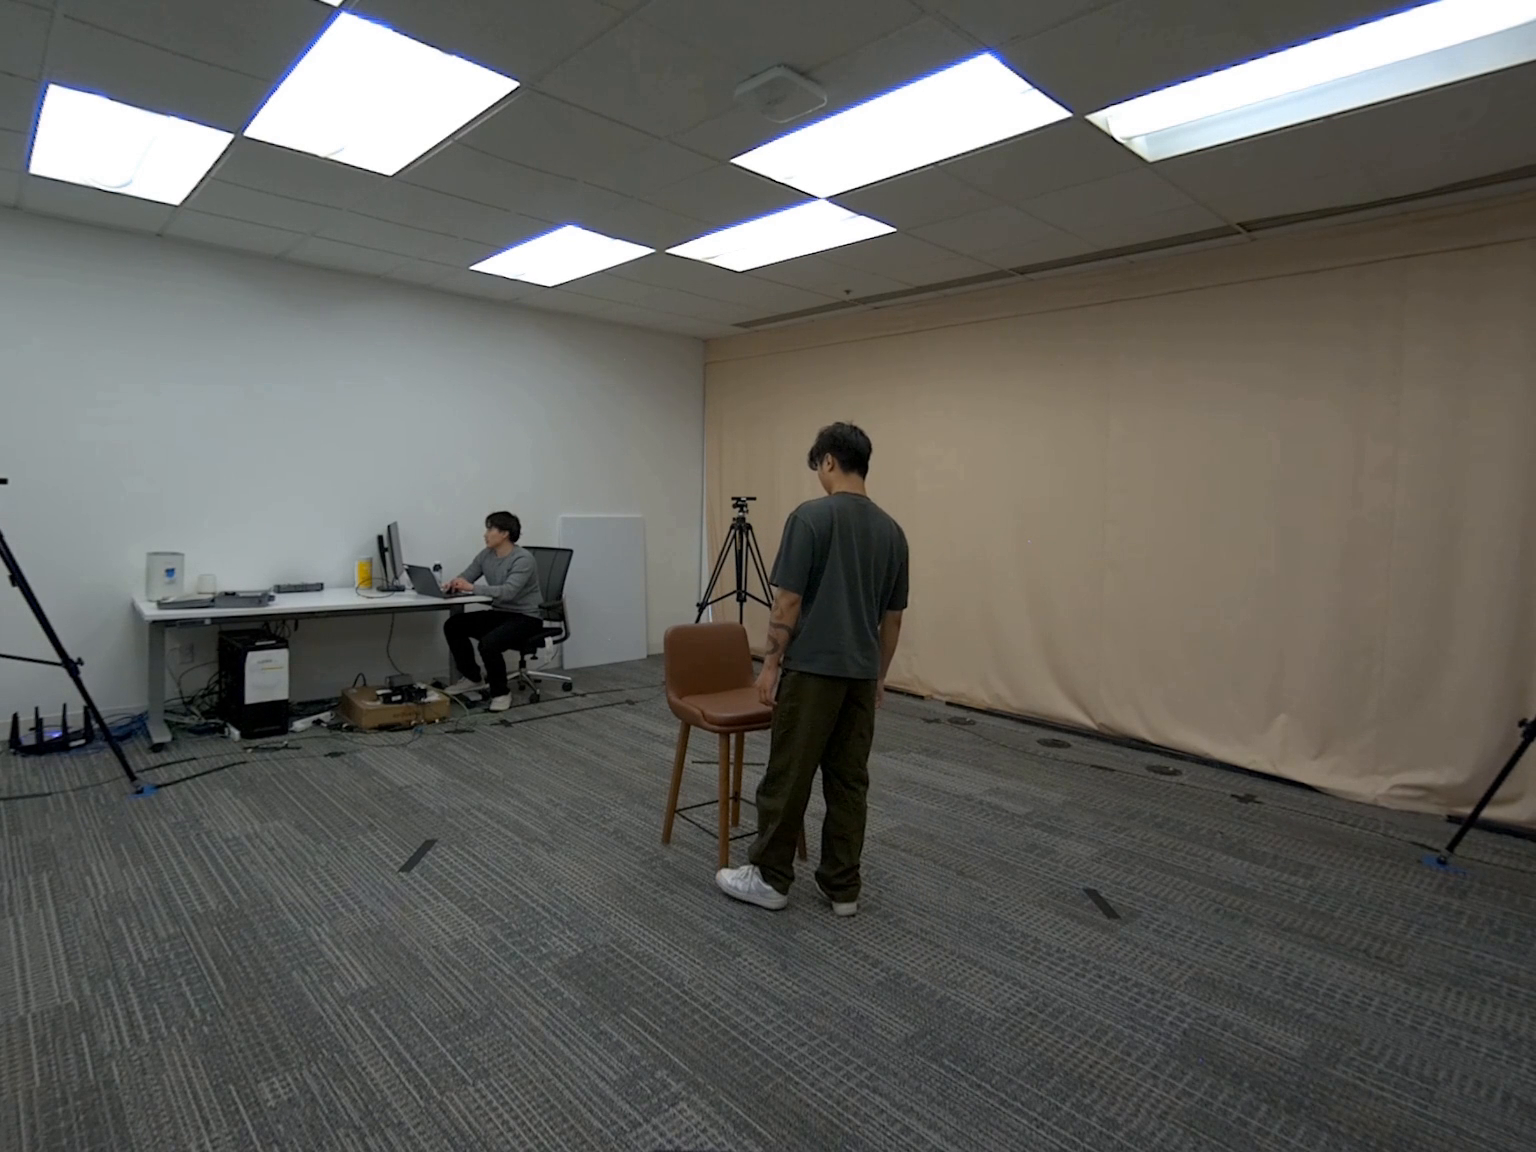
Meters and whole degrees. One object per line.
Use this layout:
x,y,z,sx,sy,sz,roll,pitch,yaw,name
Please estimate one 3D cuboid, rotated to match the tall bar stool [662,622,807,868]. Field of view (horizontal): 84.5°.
-0.145,0.656,3.303,0.446,0.888,0.479,-1,2,-37,tall bar stool
